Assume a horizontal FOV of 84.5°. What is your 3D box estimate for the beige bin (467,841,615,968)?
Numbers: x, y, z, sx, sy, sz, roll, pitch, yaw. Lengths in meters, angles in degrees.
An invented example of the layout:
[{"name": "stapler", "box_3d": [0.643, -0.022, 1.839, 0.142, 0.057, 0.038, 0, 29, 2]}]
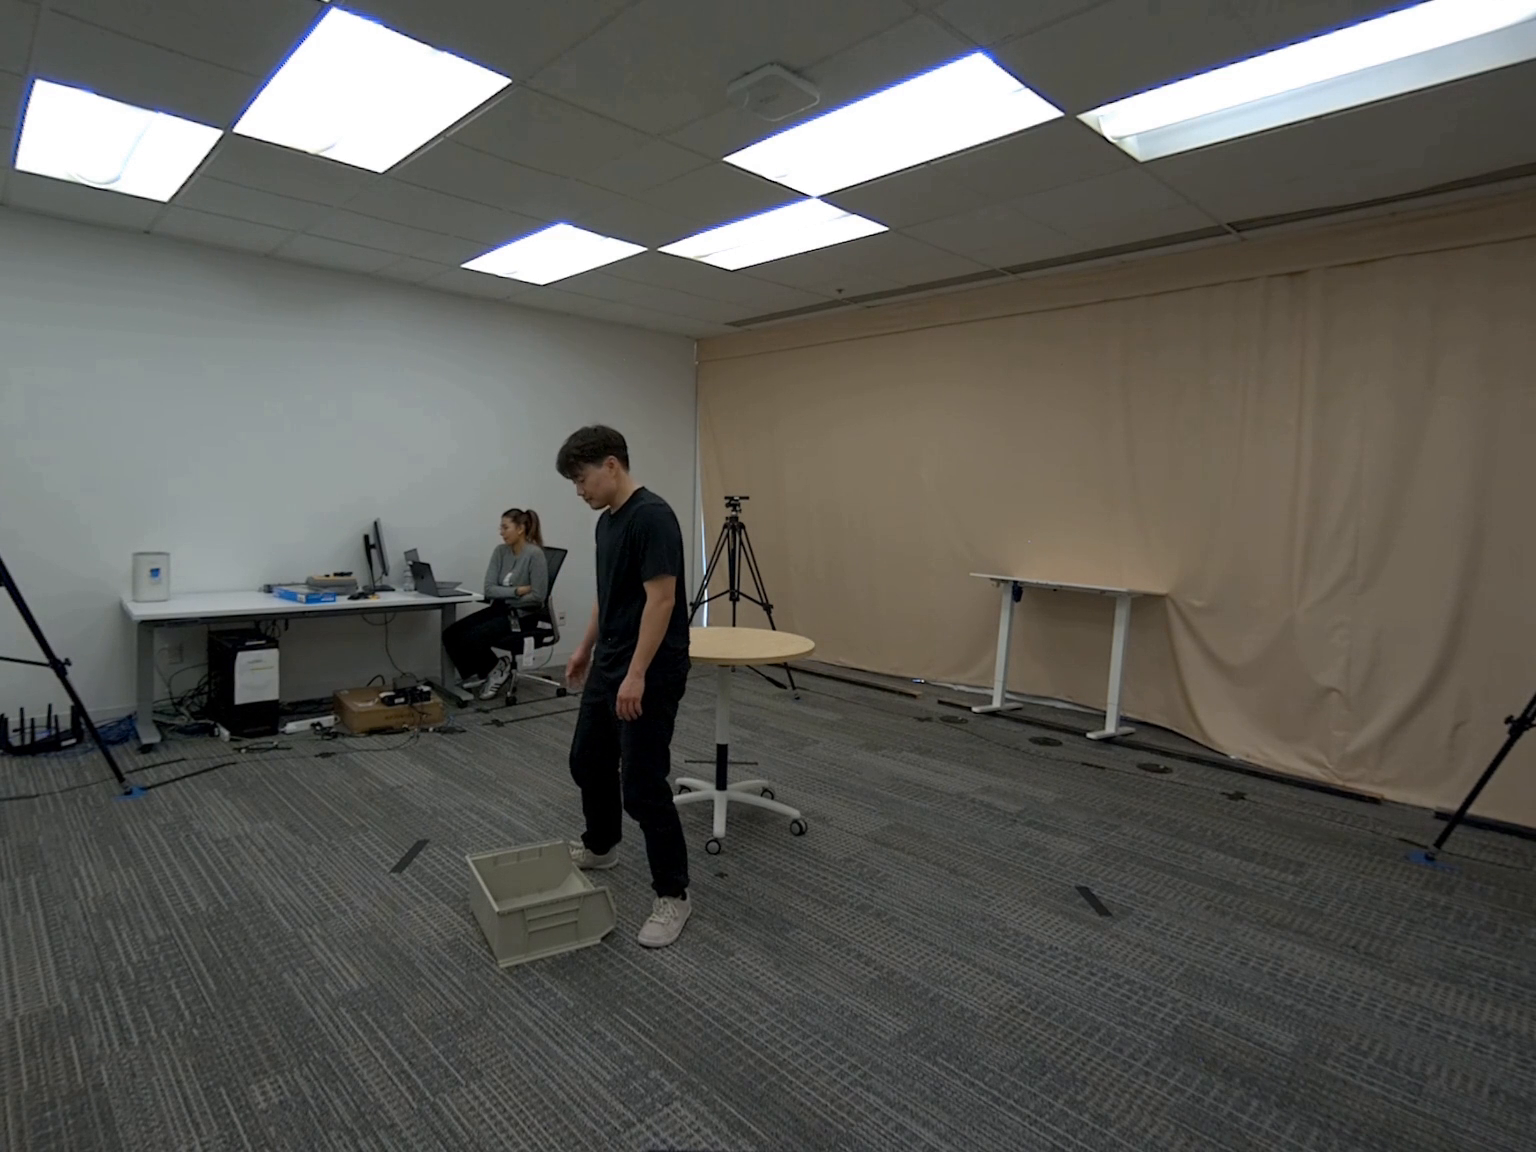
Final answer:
[{"name": "beige bin", "box_3d": [-0.738, 1.035, 2.718, 0.370, 0.188, 0.432, -2, 6, -31]}]
